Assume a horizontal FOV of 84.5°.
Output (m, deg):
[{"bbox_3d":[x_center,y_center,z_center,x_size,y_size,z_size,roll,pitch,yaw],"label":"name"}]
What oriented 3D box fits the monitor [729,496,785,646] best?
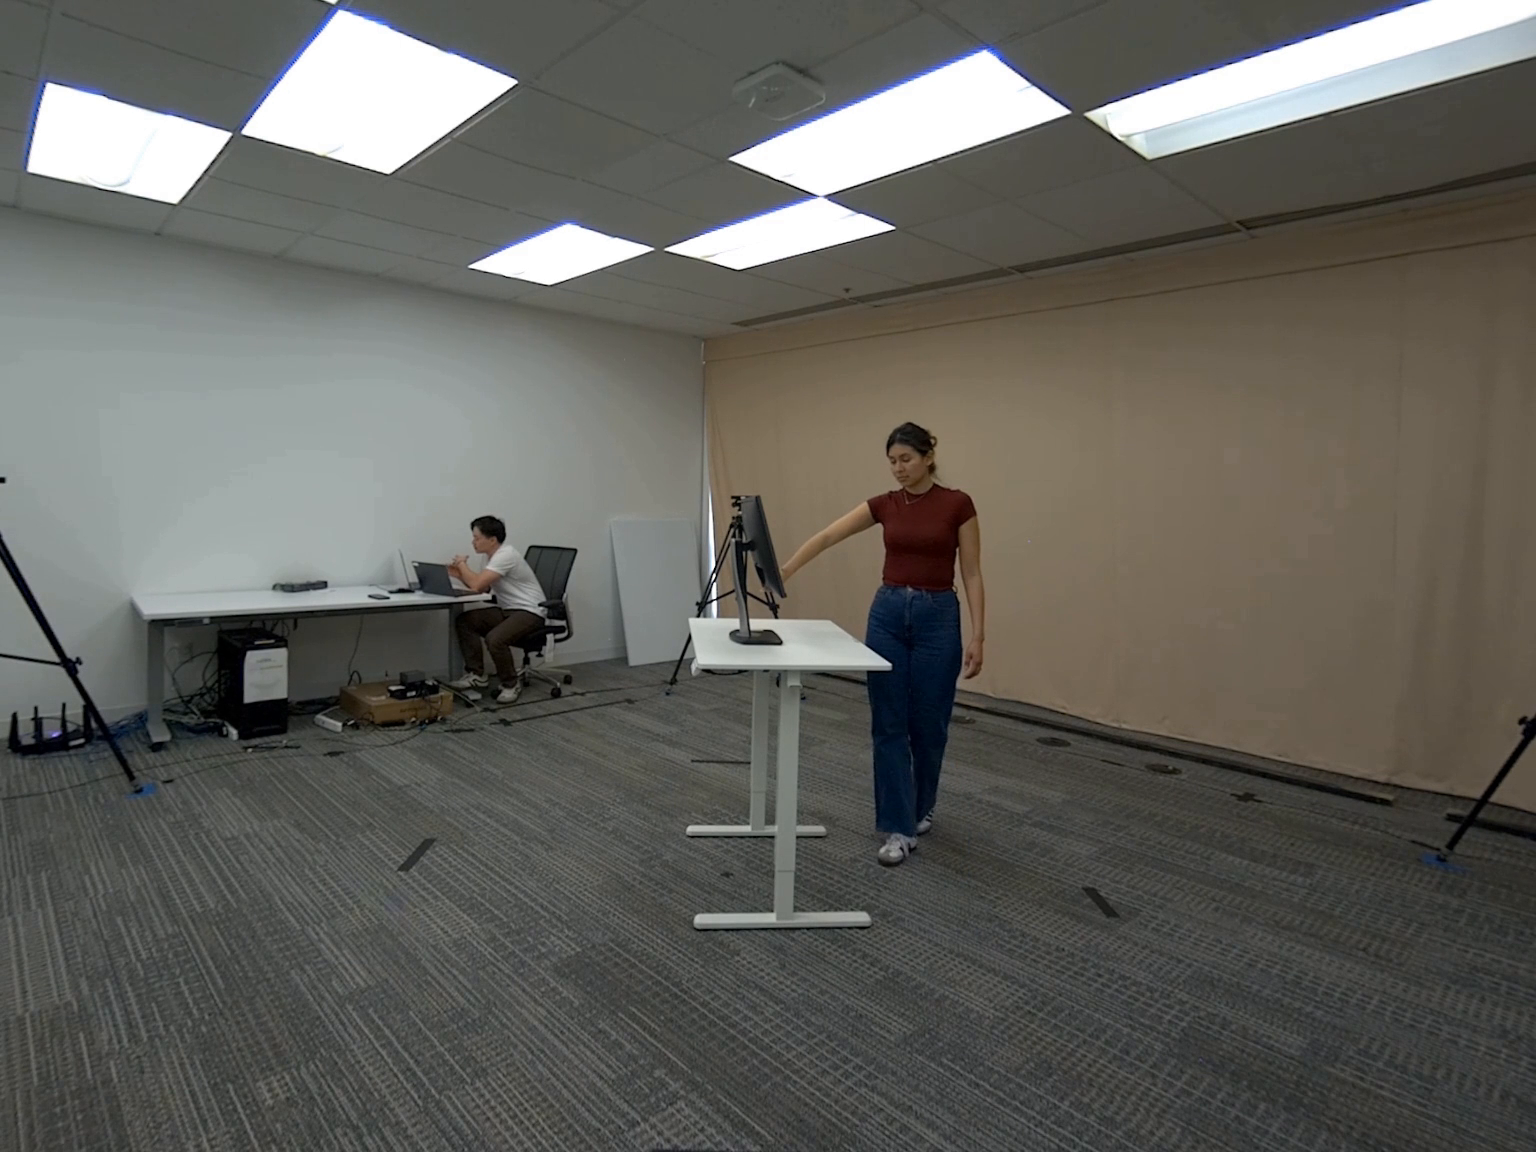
[{"bbox_3d":[-0.060,-0.025,3.033,0.186,0.521,0.544,-1,4,-9],"label":"monitor"}]
